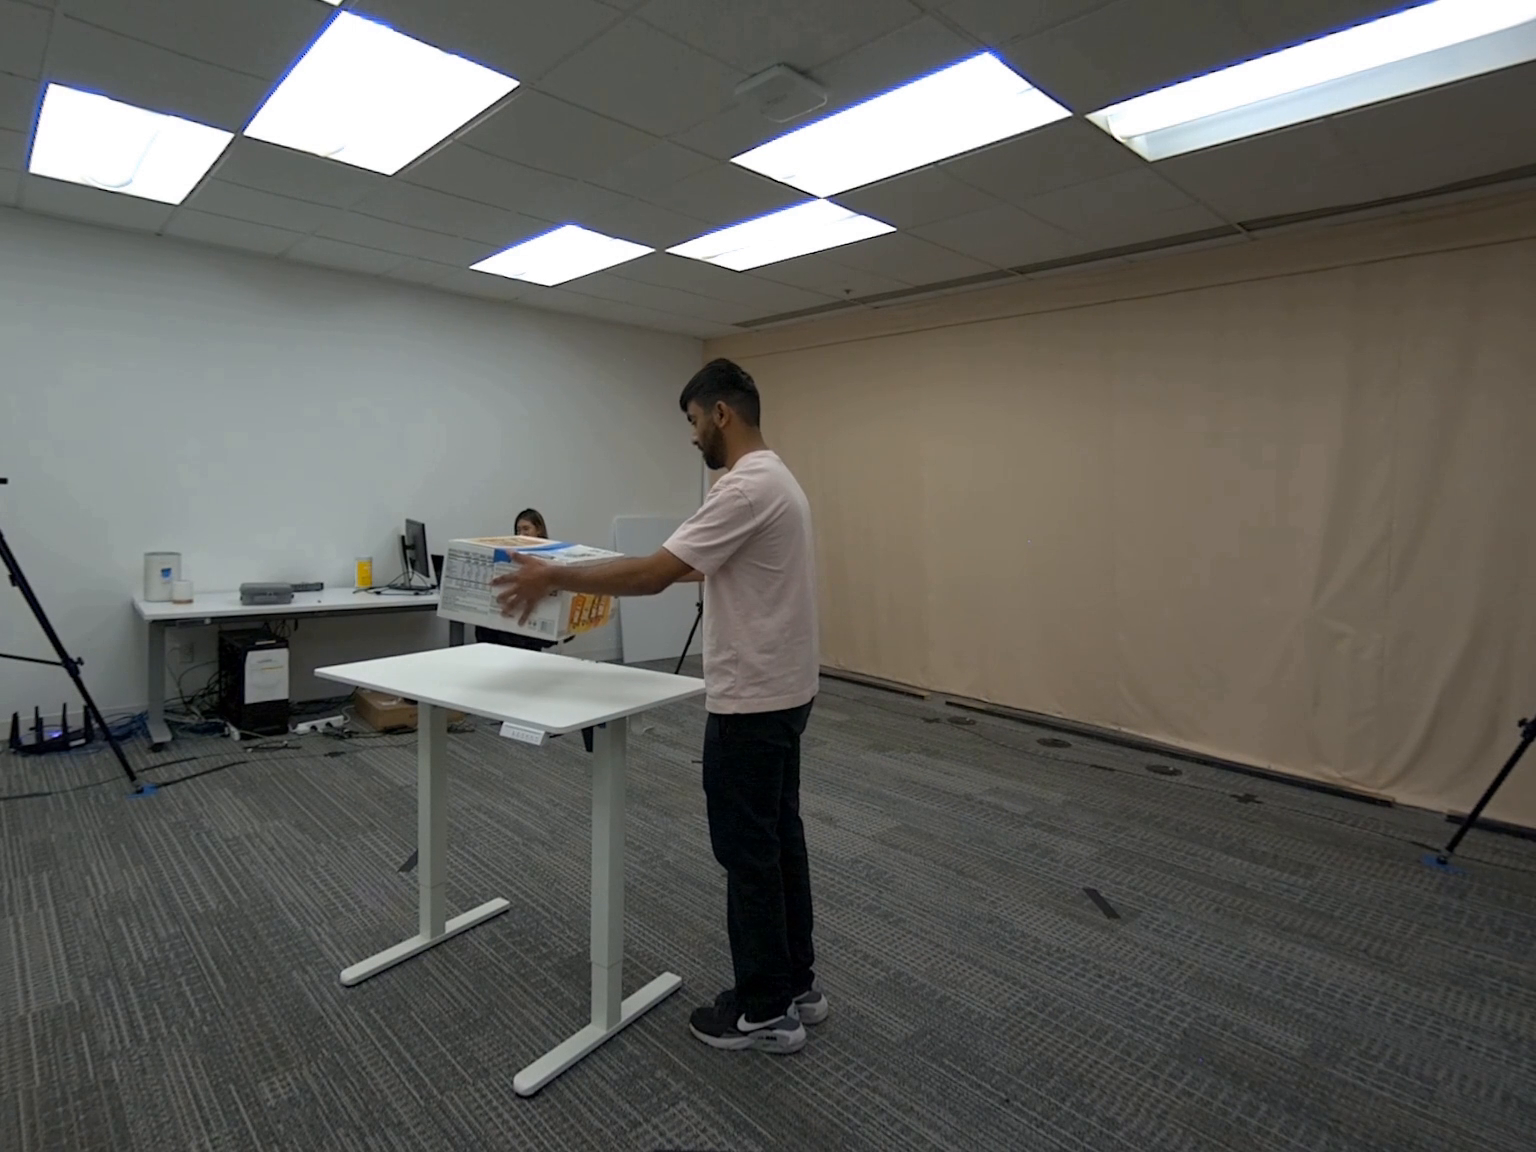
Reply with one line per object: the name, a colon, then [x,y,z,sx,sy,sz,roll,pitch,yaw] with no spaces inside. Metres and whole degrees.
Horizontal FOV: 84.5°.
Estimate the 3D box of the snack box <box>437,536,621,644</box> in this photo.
snack box: [-0.634,0.032,2.305,0.344,0.205,0.402,10,6,11]
